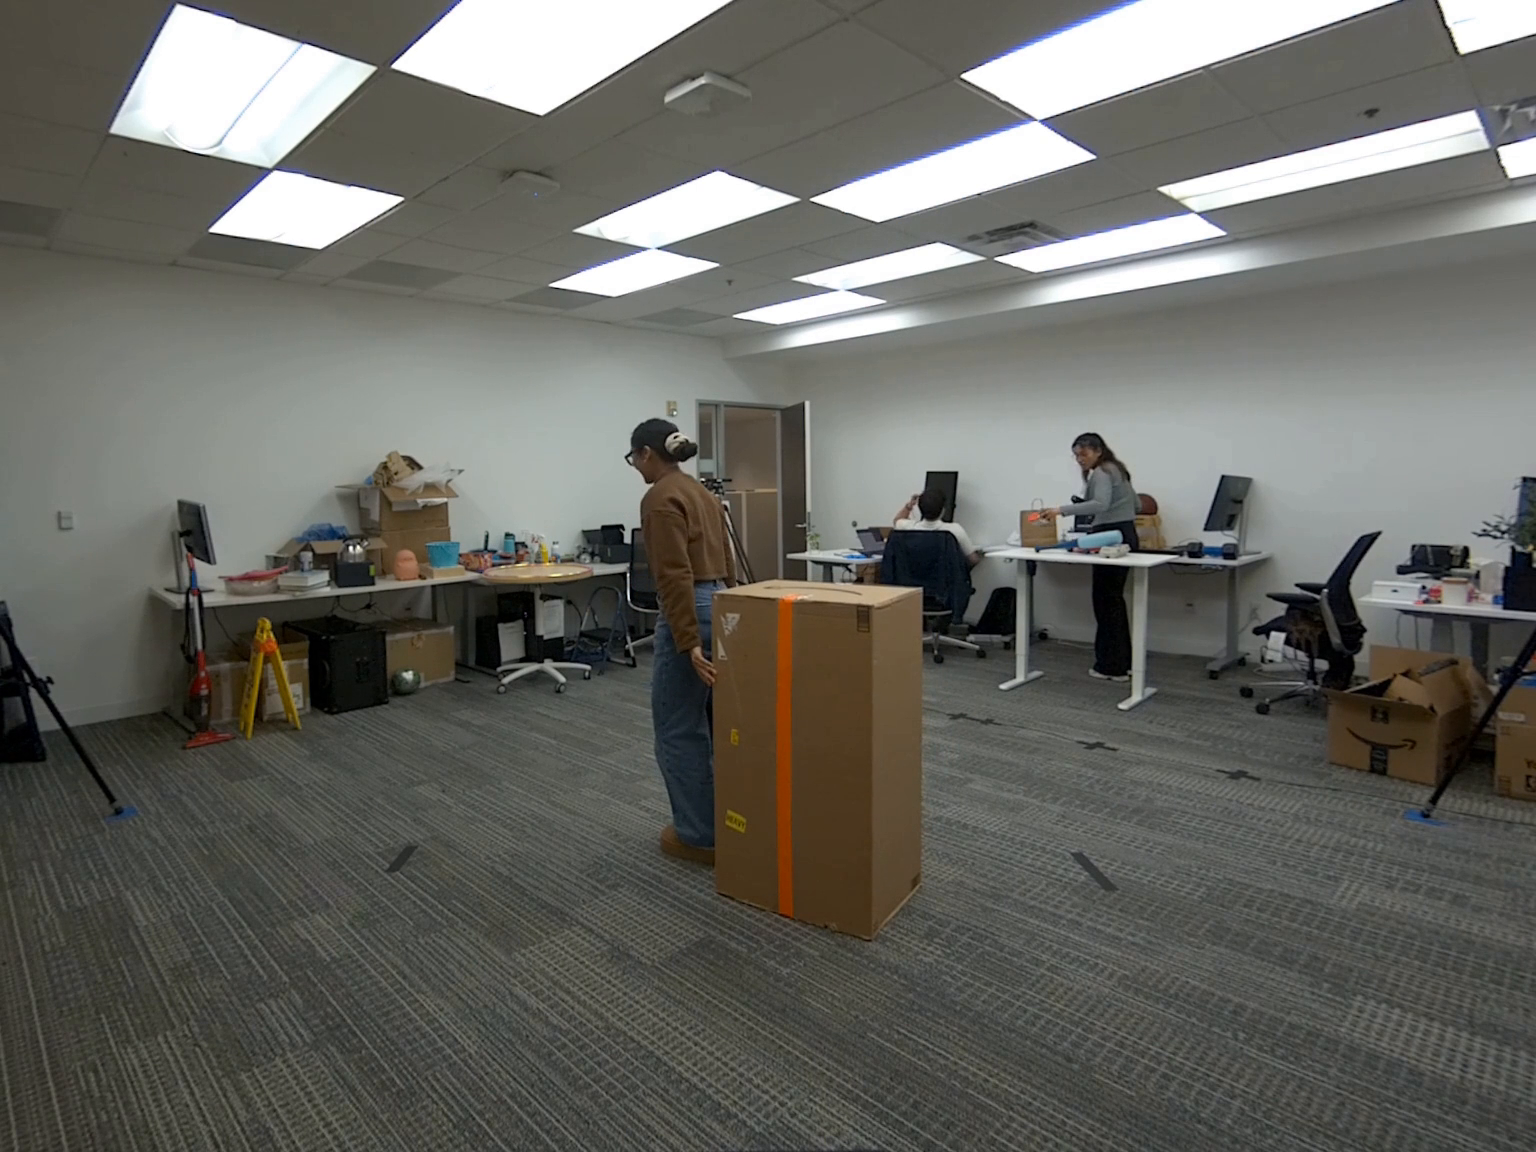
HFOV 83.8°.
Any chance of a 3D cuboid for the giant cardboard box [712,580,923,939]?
[{"bbox_3d":[0.172,0.562,2.858,0.600,1.023,0.436,2,4,32],"label":"giant cardboard box"}]
